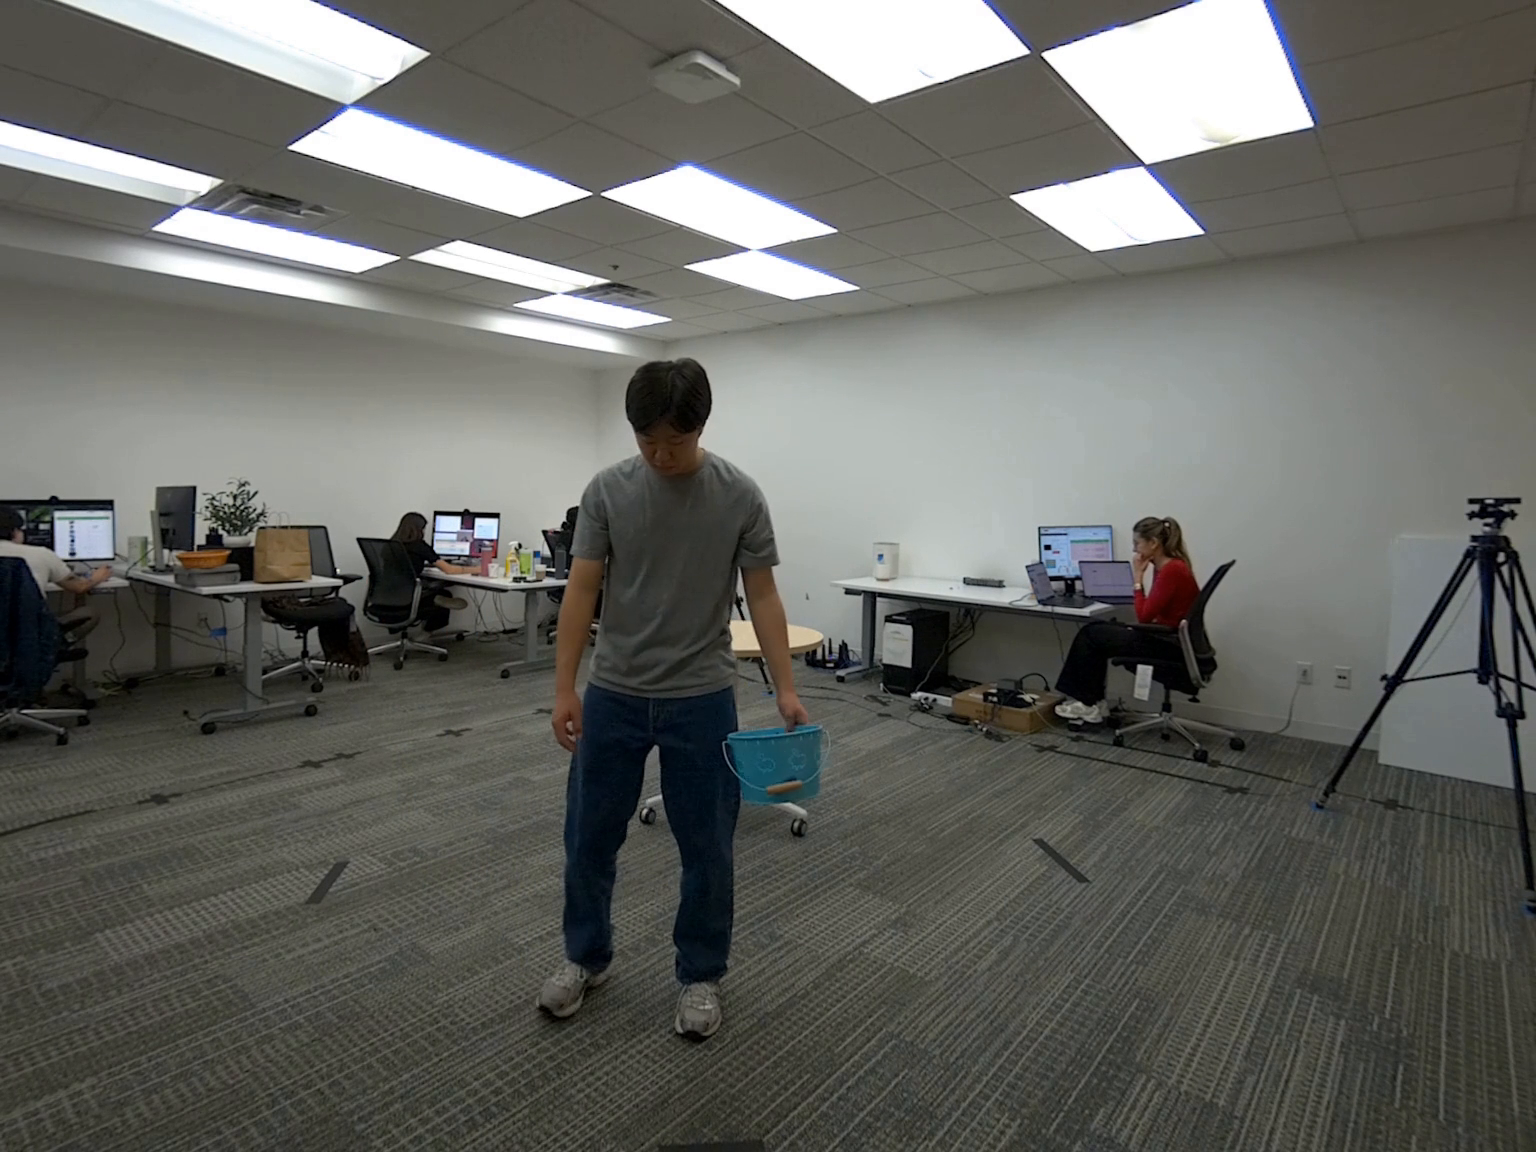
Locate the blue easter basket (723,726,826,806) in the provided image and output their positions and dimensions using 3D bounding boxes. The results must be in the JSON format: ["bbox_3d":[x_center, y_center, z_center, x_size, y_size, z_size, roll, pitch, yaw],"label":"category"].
[{"bbox_3d":[0.004,0.434,1.995,0.243,0.157,0.242,-6,-5,-2],"label":"blue easter basket"}]
